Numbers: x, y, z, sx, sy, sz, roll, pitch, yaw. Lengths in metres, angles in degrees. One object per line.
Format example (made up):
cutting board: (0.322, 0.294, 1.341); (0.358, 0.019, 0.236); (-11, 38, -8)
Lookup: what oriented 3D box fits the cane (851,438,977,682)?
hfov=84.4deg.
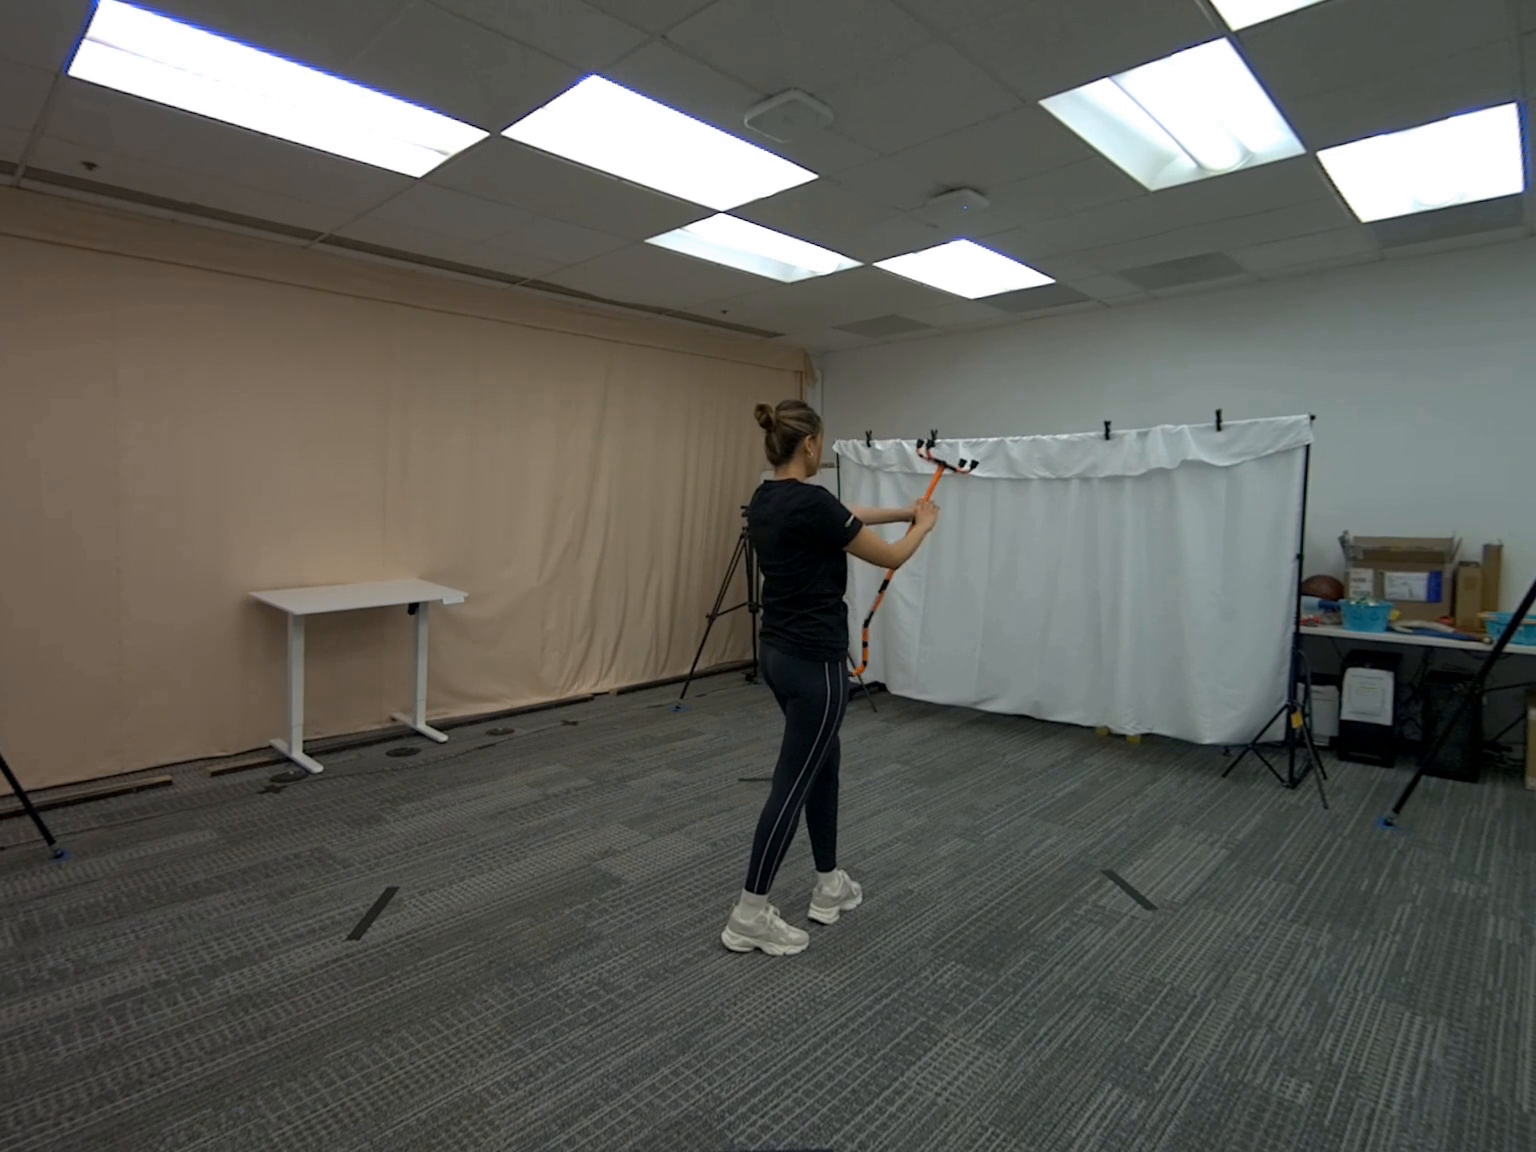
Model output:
cane: (0.468, -0.051, 3.081); (0.205, 0.908, 0.153); (25, 2, -6)
